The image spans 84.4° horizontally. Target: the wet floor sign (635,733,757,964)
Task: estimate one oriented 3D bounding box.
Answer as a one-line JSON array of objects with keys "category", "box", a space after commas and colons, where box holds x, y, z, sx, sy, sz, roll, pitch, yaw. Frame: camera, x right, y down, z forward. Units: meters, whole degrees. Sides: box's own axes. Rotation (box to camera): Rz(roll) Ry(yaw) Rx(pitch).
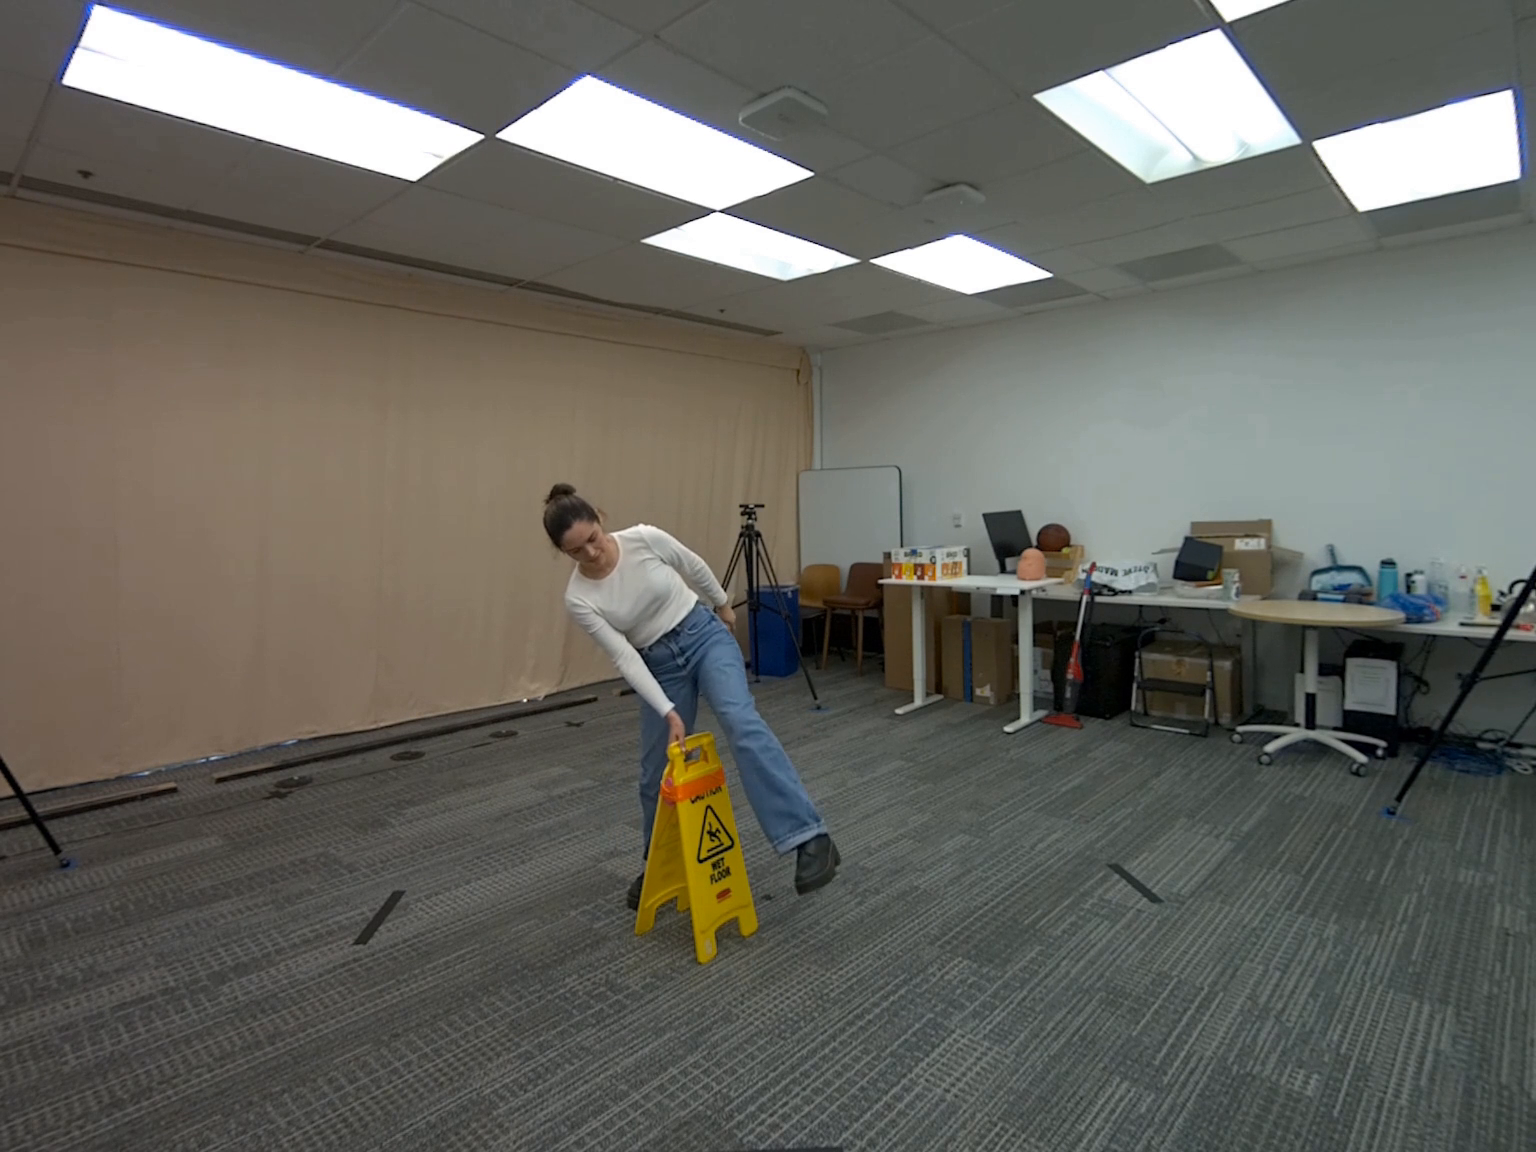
[{"category": "wet floor sign", "box": [-0.241, 0.844, 2.734, 0.299, 0.645, 0.274, 0, 3, 39]}]
